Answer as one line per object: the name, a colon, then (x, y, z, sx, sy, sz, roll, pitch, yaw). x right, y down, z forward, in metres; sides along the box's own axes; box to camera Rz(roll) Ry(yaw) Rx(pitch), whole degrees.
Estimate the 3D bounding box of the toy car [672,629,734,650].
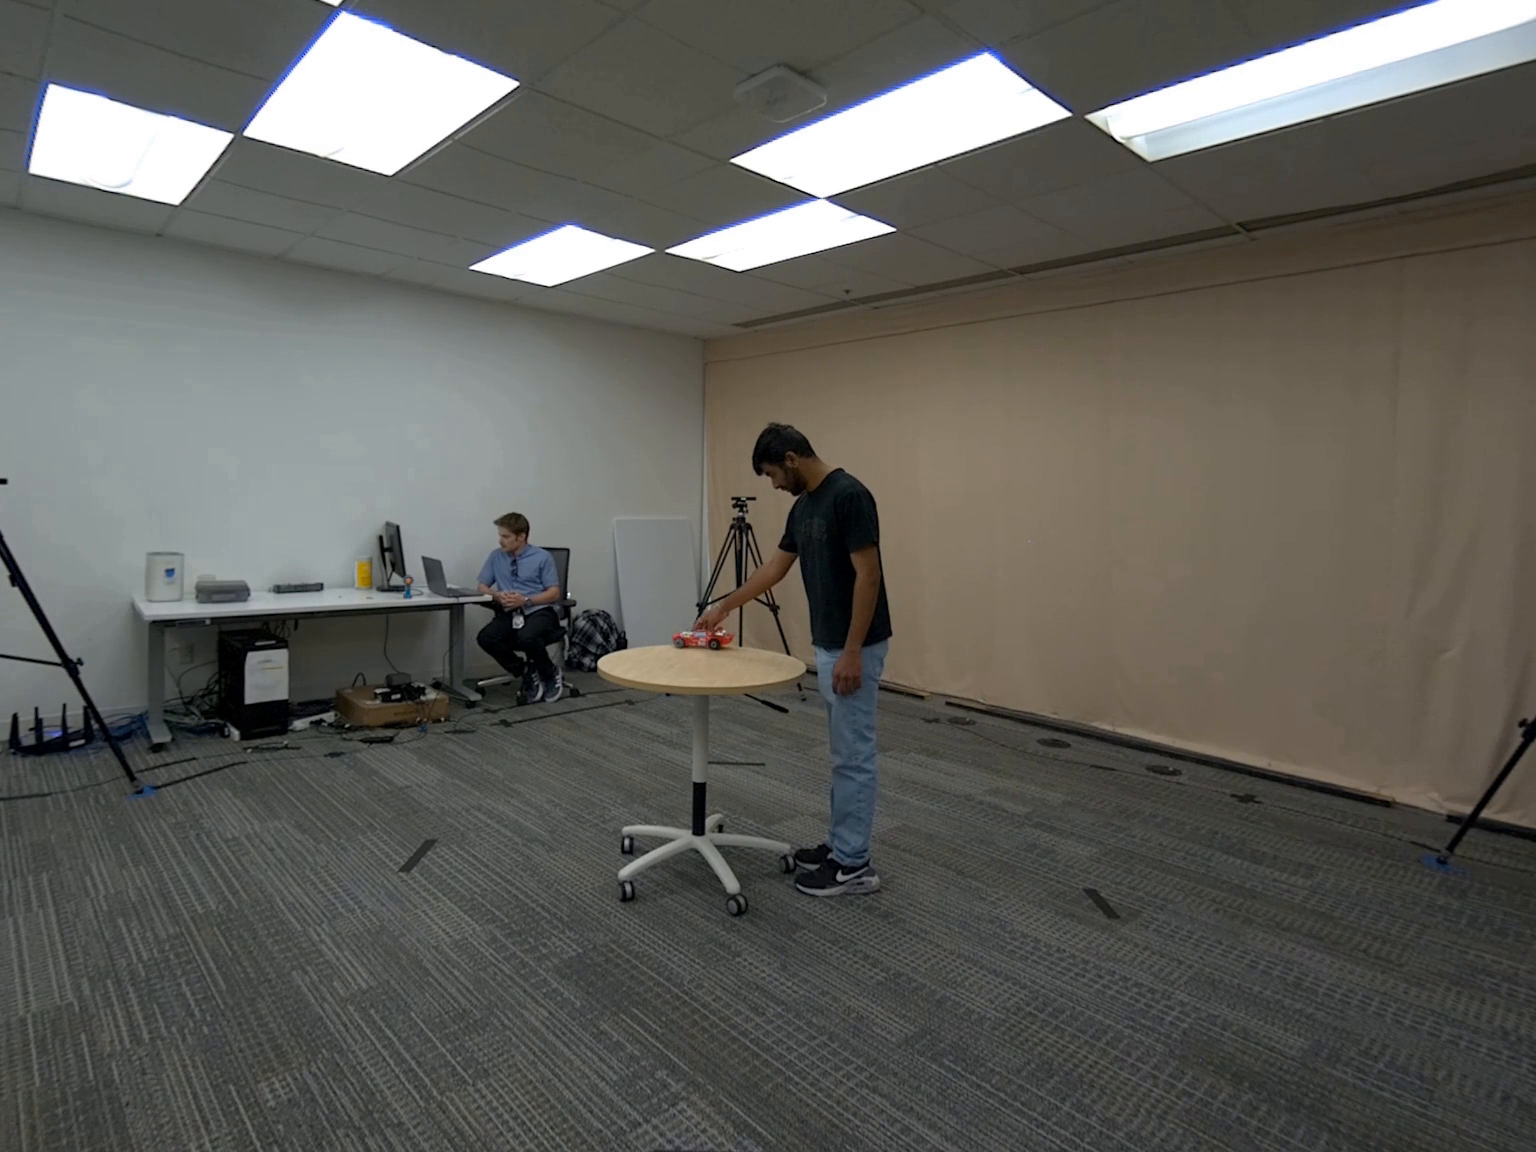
toy car: (-0.270, 0.259, 3.424, 0.256, 0.083, 0.130, -9, 4, 8)
